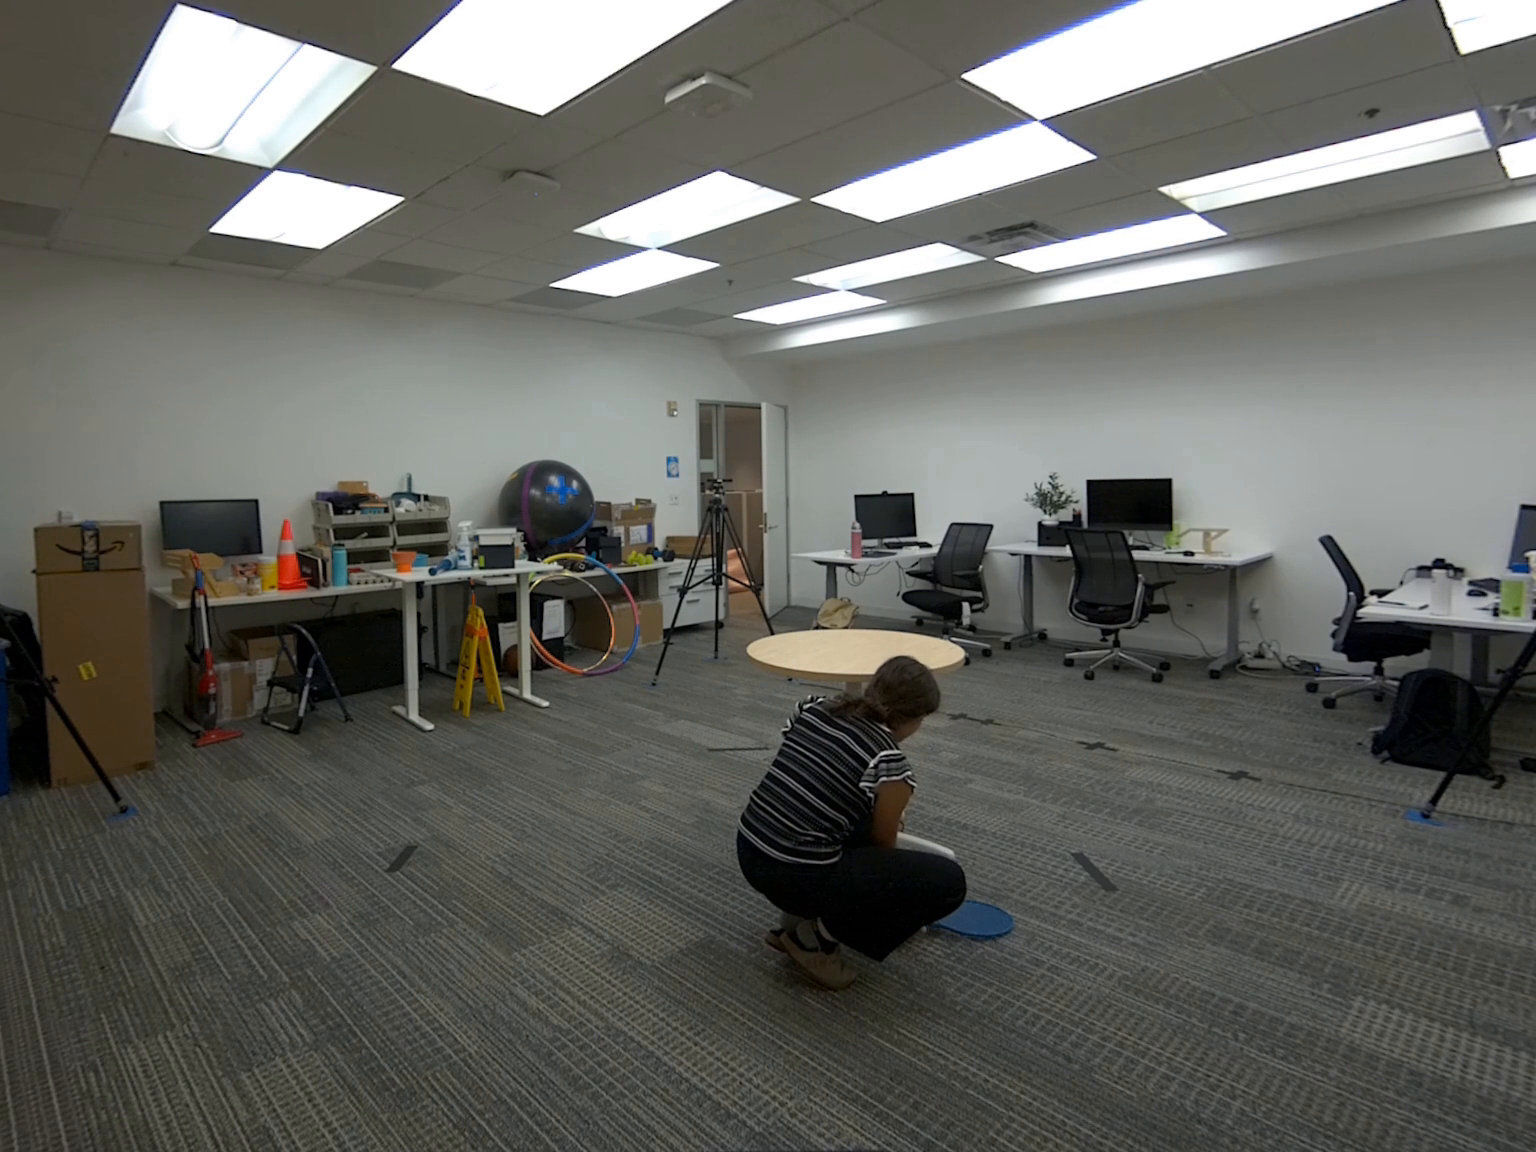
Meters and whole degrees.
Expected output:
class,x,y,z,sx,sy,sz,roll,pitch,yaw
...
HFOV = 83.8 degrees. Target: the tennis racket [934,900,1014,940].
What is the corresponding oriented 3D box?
class,x,y,z,sx,sy,sz,roll,pitch,yaw
tennis racket,0.544,1.048,2.662,0.428,0.031,0.217,3,6,-12
